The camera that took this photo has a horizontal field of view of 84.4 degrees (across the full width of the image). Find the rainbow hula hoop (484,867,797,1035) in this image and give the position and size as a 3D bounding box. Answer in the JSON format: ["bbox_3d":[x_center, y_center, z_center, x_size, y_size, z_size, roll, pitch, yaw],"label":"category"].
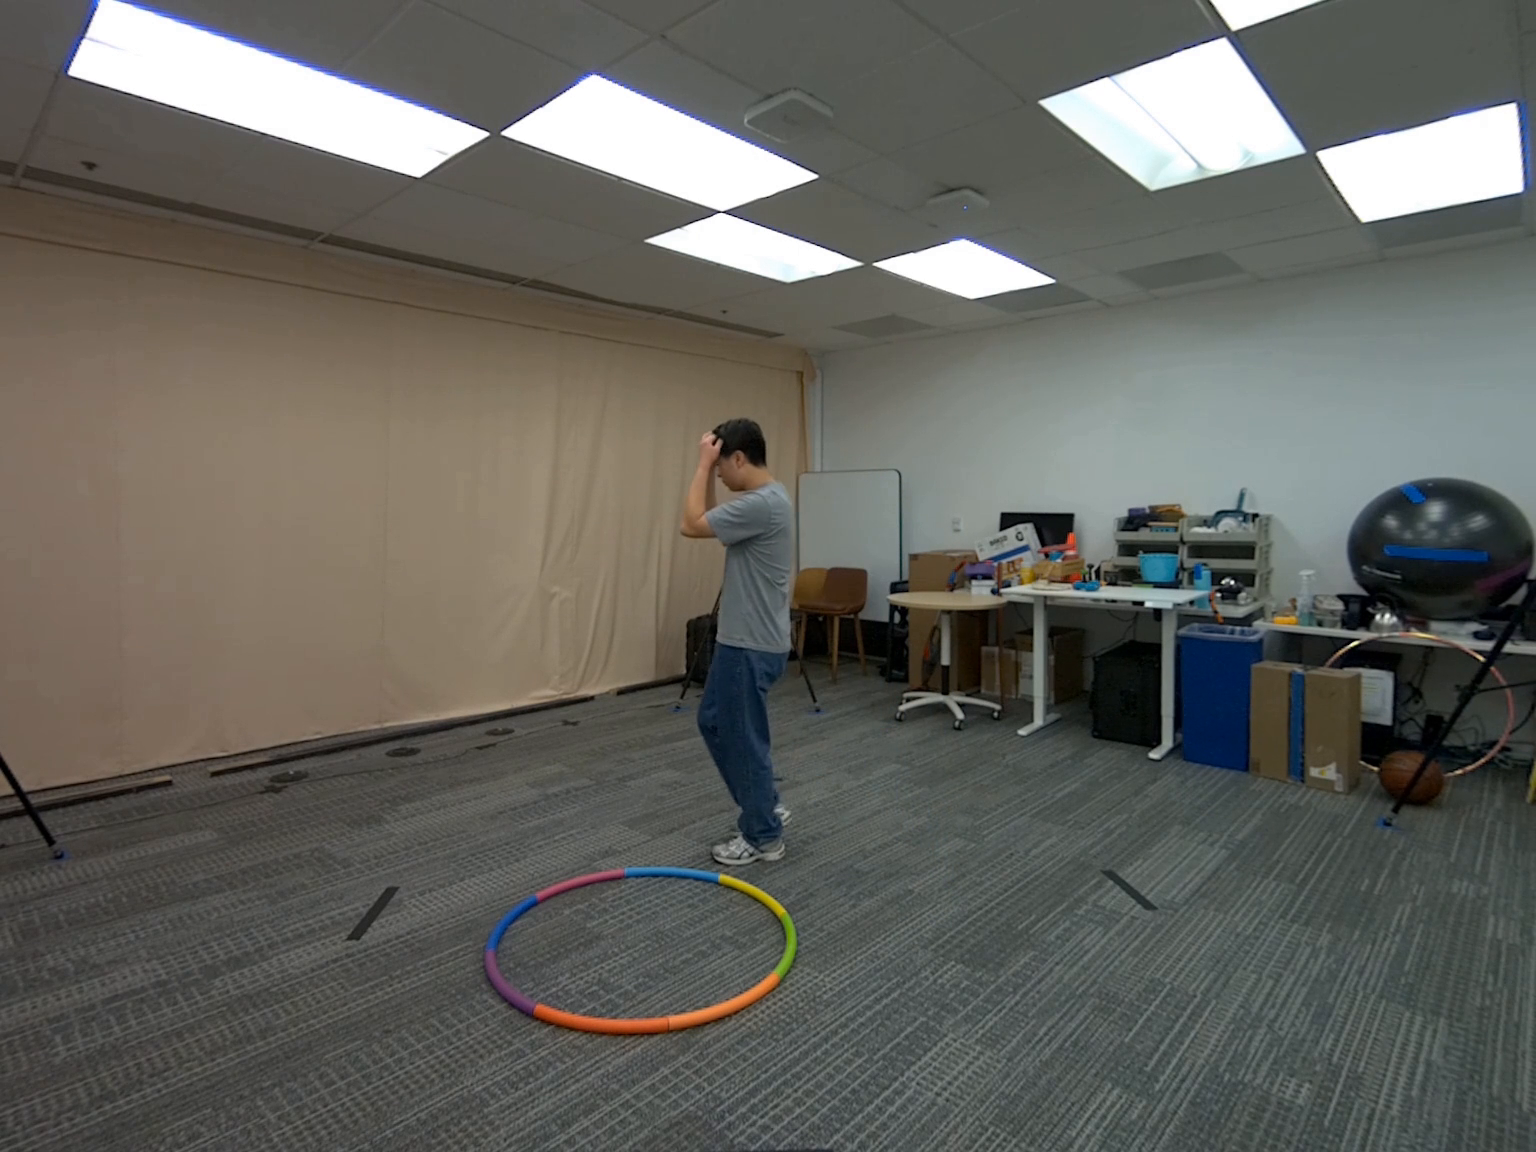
[{"bbox_3d":[-0.396,1.141,2.707,0.978,0.035,0.982,-1,4,-2],"label":"rainbow hula hoop"}]
